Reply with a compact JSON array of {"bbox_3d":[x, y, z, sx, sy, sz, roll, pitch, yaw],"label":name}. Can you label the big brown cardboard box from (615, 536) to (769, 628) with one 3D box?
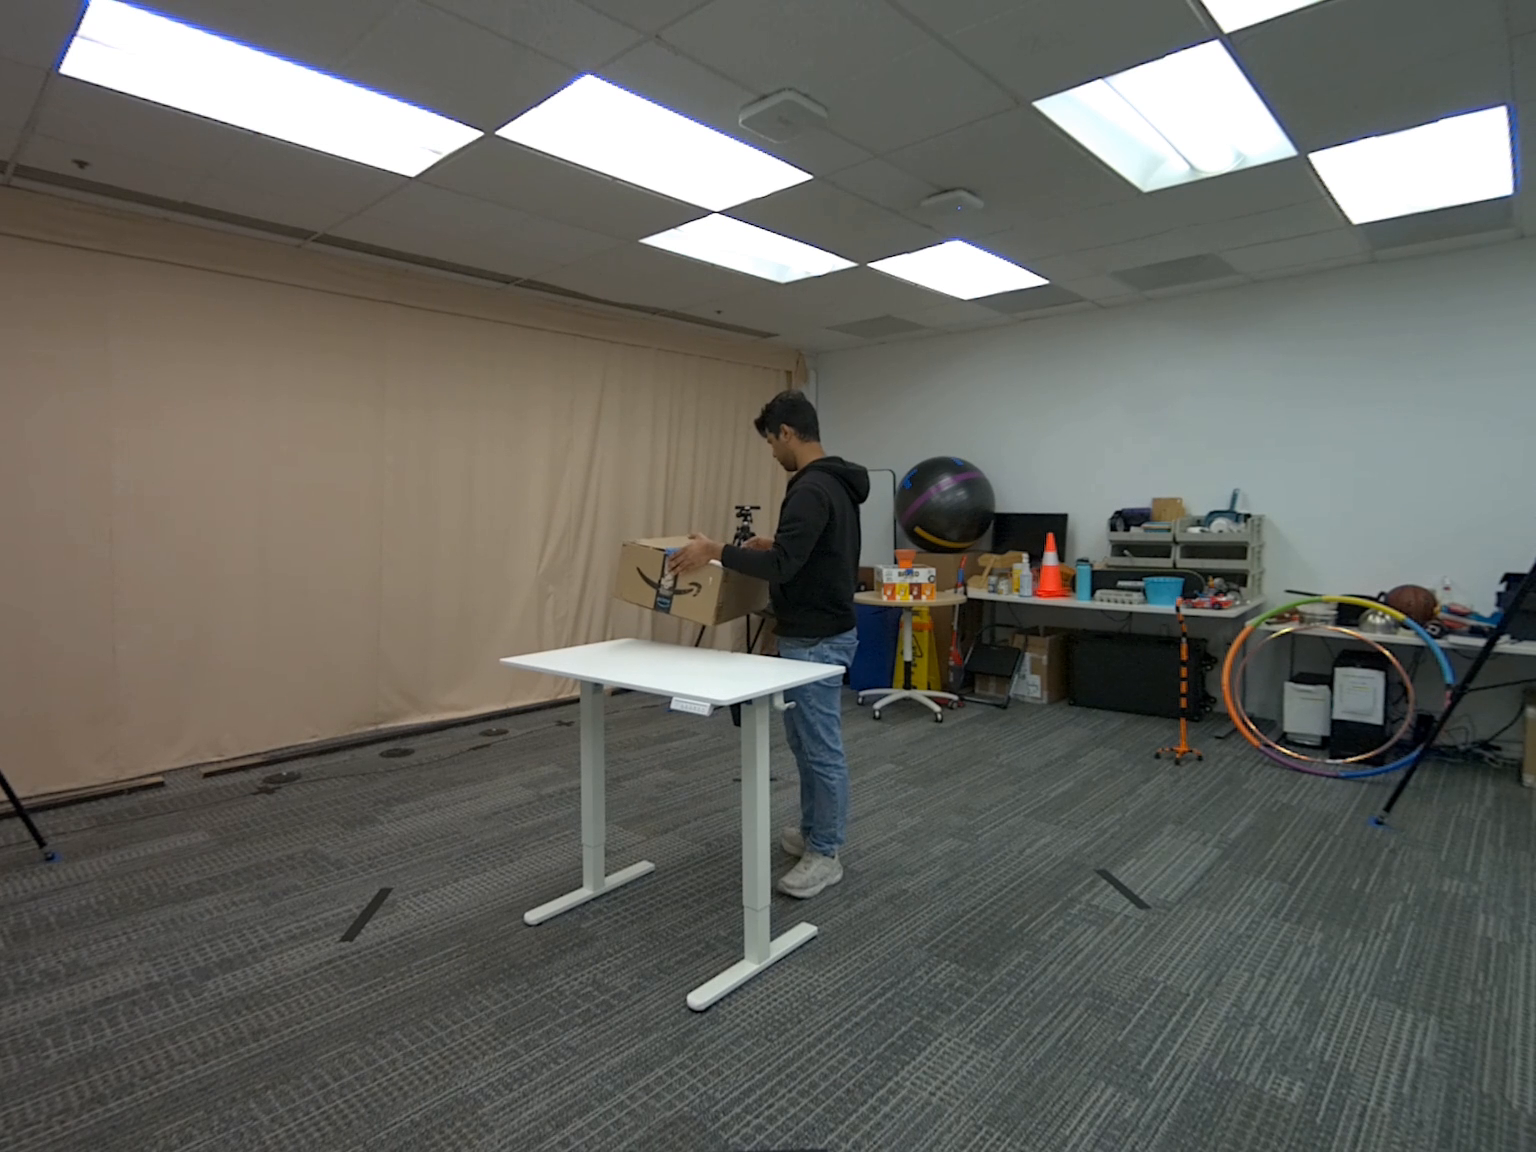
[{"bbox_3d":[-0.260,0.003,3.269,0.428,0.232,0.577,14,9,20],"label":"big brown cardboard box"}]
